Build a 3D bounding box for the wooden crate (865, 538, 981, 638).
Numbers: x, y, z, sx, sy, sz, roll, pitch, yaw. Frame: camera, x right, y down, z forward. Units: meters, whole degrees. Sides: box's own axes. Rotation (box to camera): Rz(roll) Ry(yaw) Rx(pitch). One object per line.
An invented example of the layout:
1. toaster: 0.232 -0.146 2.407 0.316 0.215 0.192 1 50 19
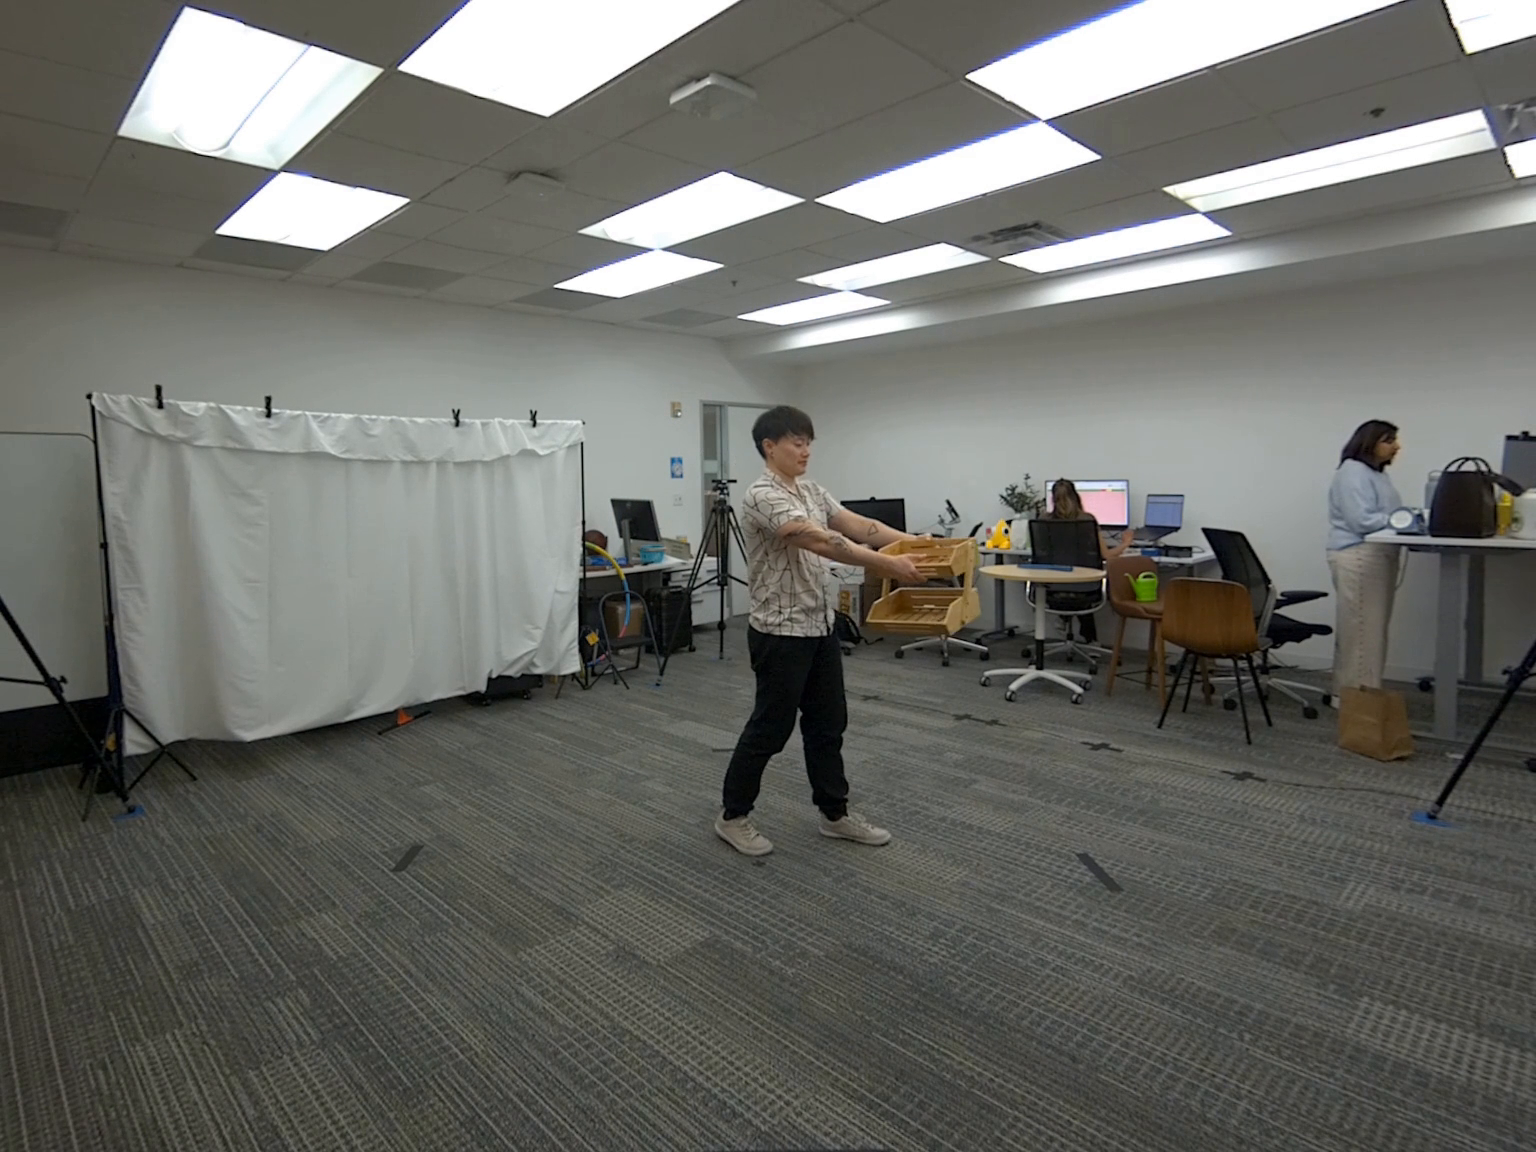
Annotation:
1. wooden crate: 0.525 0.028 2.931 0.333 0.271 0.296 -2 13 41
